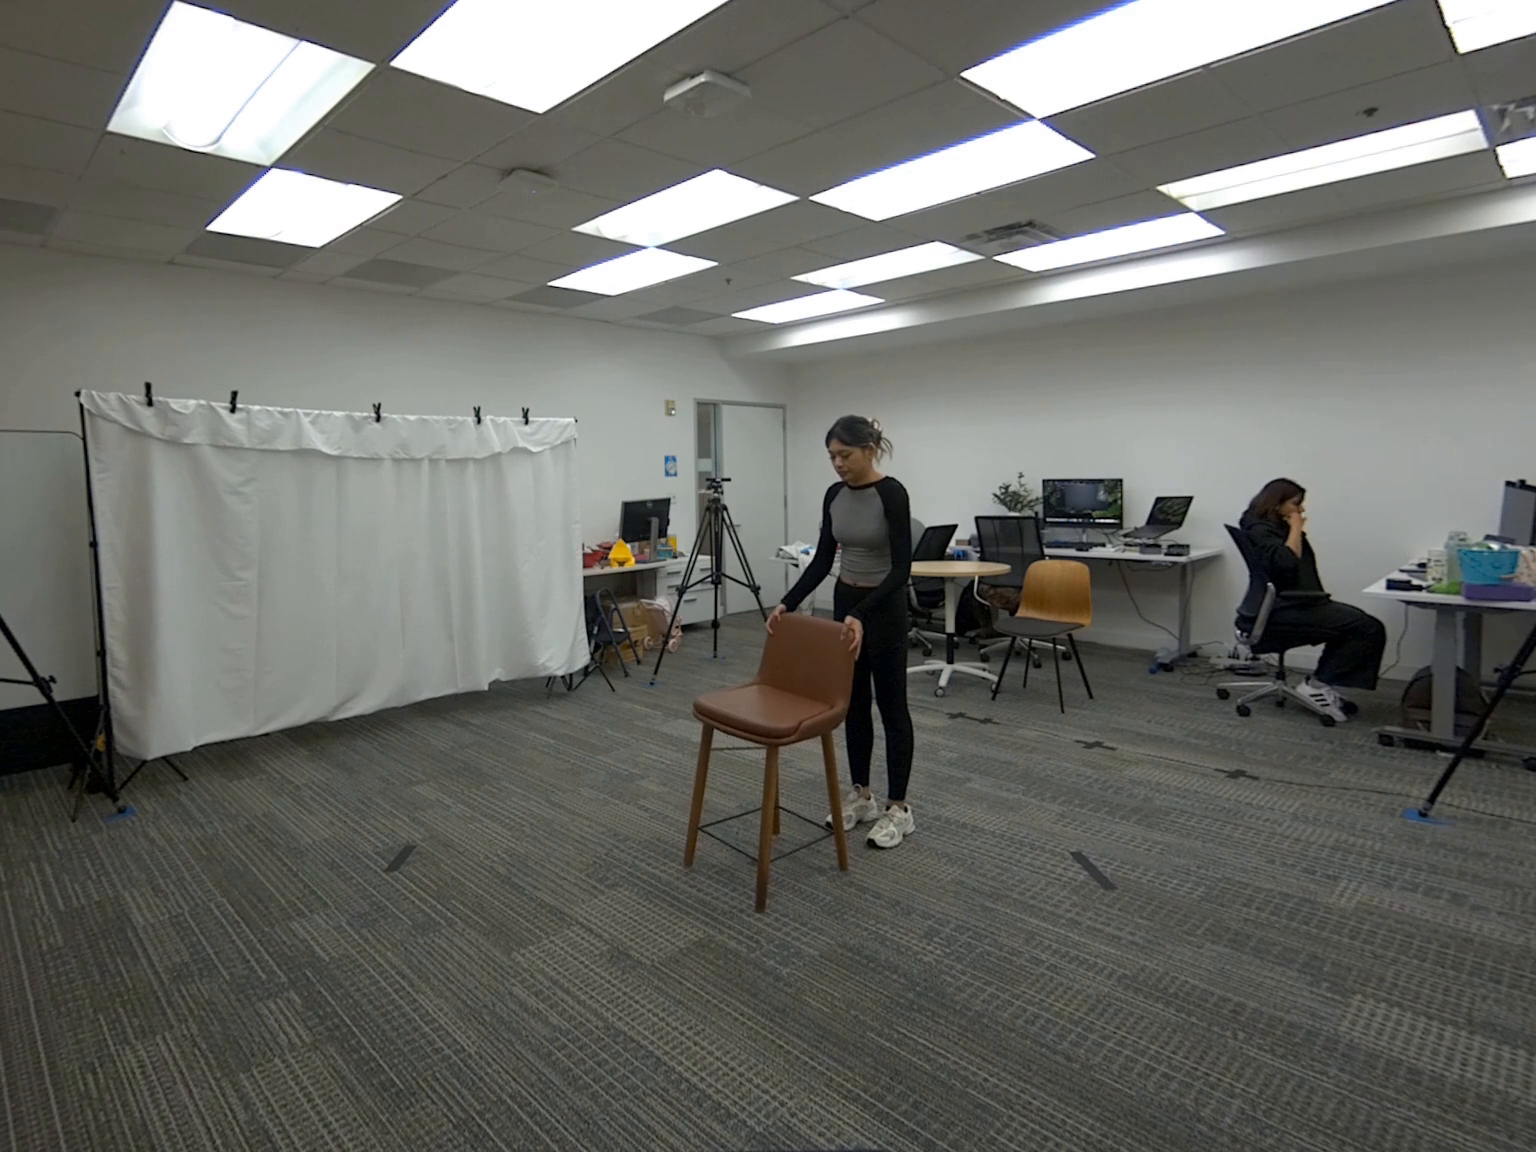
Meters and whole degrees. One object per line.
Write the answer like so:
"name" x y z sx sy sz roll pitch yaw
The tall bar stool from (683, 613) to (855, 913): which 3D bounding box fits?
"tall bar stool" 0.019 0.606 2.997 0.454 0.886 0.471 -1 6 -42
